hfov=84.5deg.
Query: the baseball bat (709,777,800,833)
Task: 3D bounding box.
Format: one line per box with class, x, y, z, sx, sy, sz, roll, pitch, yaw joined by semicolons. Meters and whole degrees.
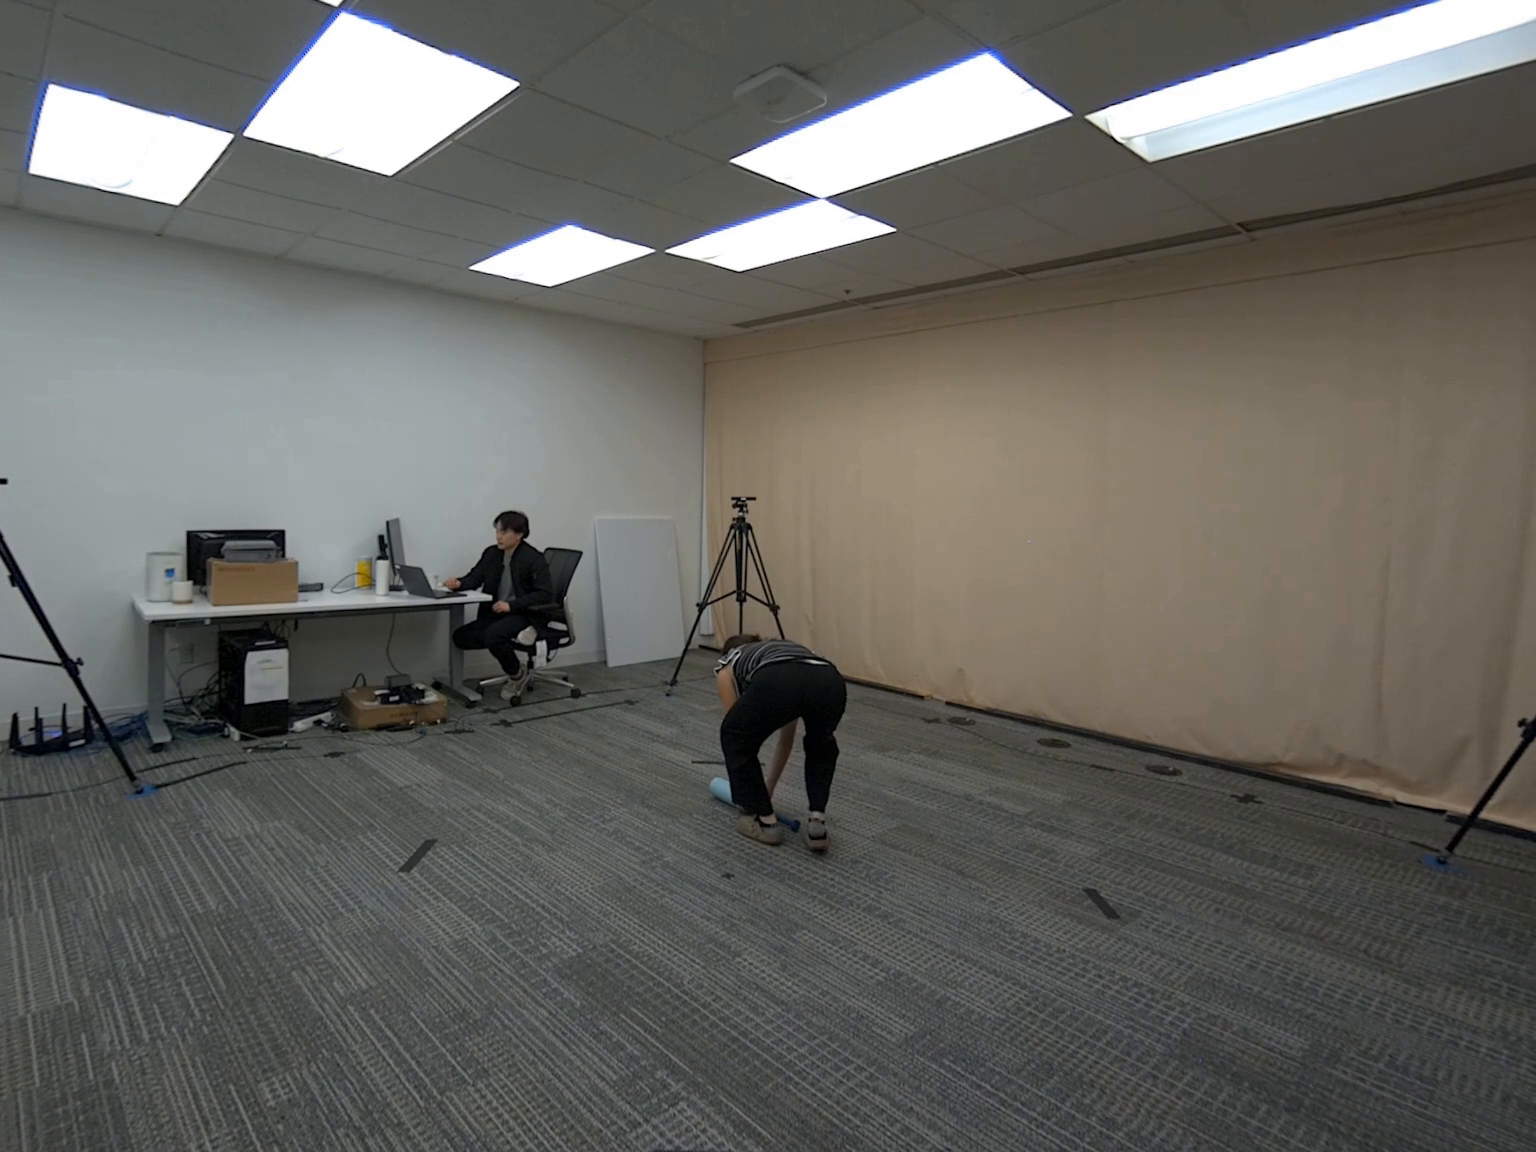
baseball bat;-0.071;1.017;3.741;0.087;0.088;0.558;-2;10;-43
